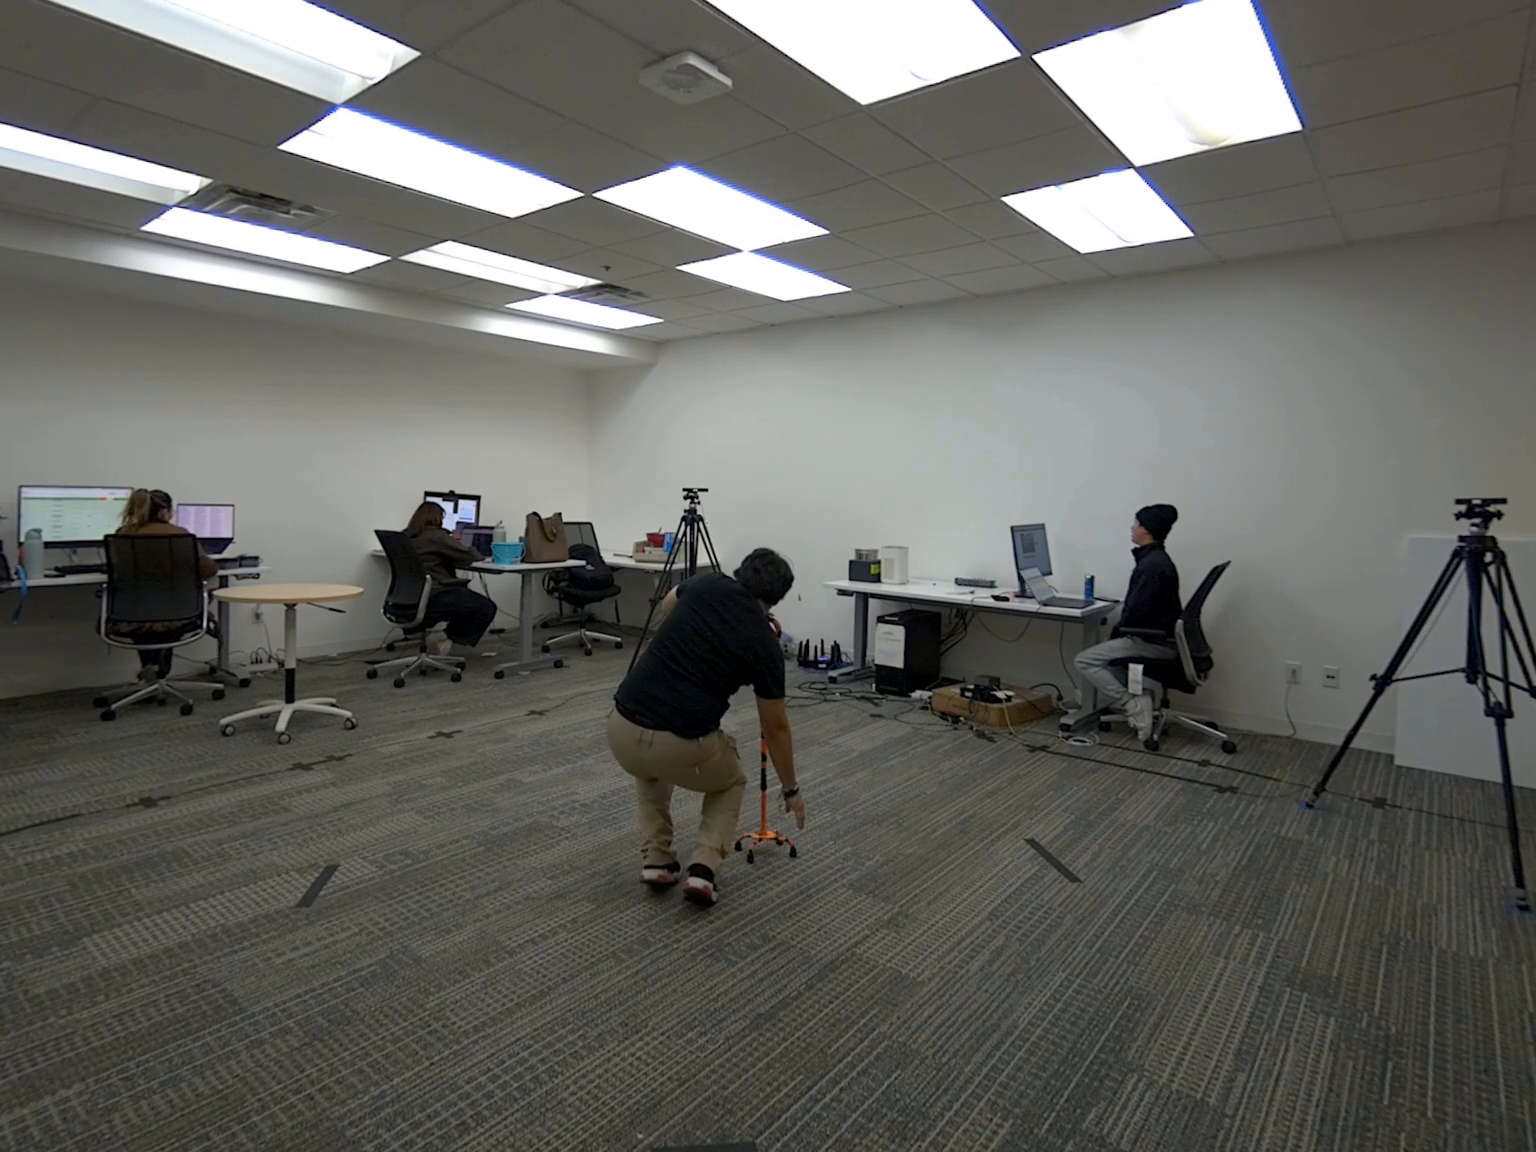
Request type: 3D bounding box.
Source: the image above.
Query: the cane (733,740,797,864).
[{"bbox_3d":[-0.017,0.612,3.272,0.202,0.909,0.155,1,-1,-22],"label":"cane"}]
